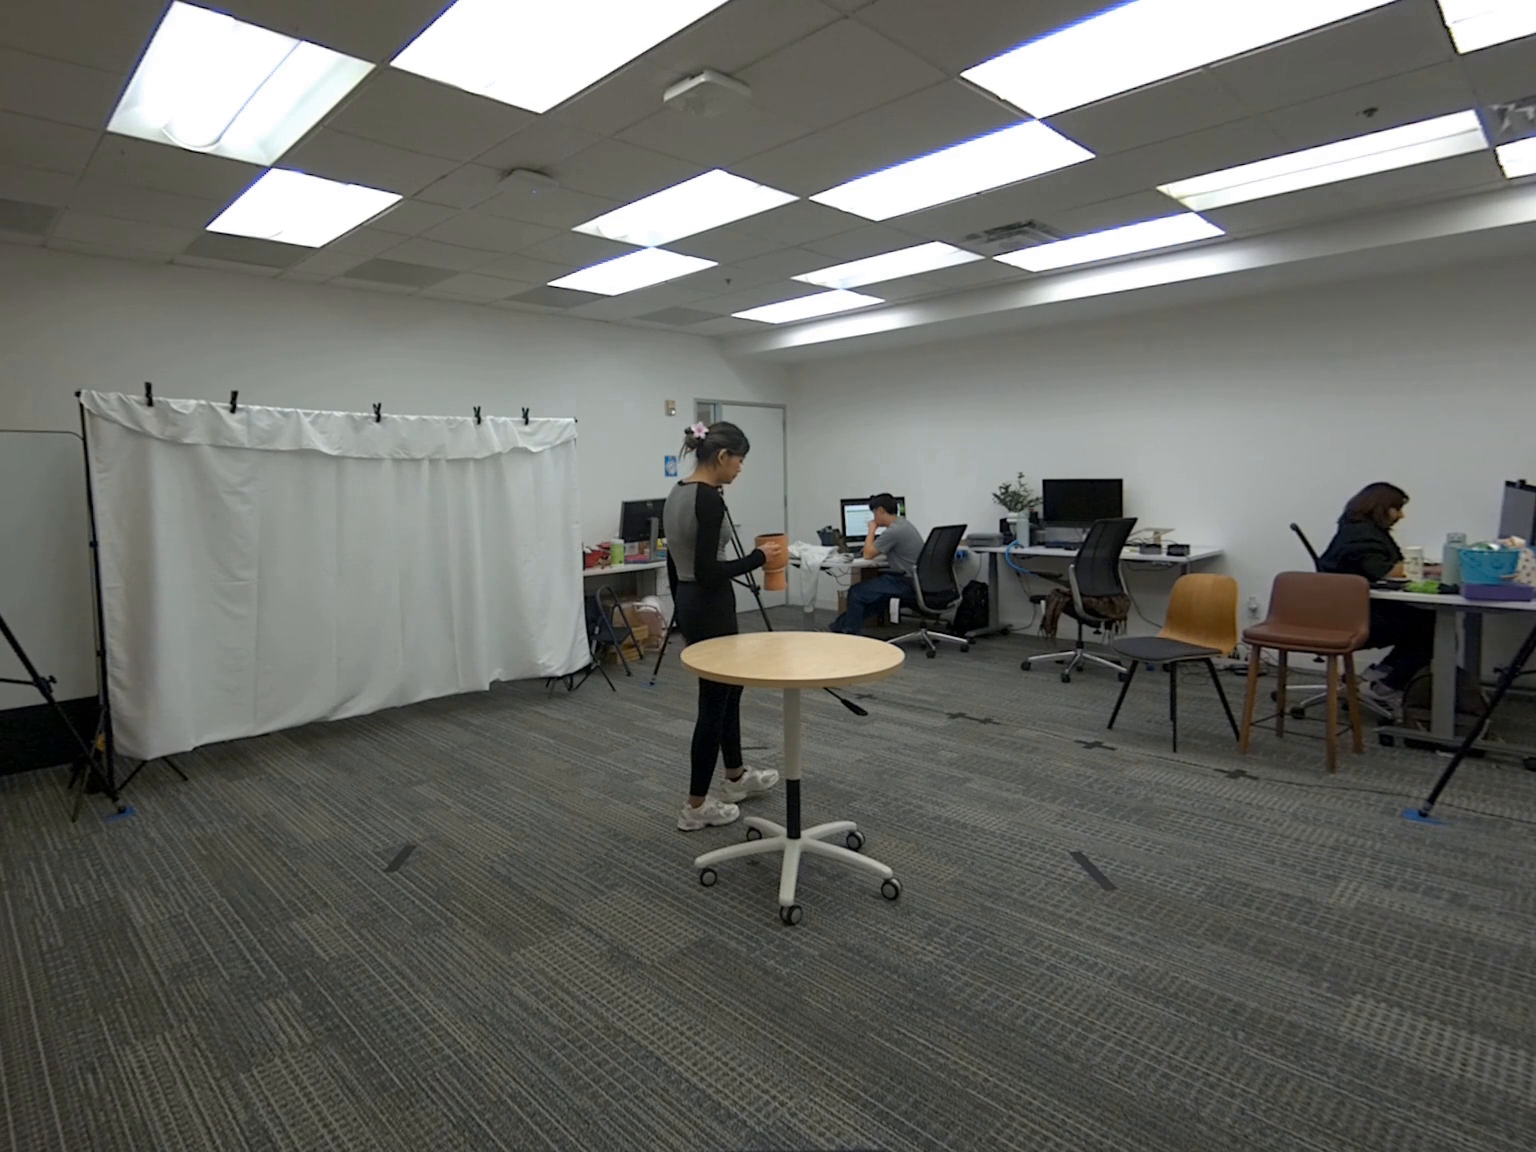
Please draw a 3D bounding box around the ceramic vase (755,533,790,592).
[{"bbox_3d":[0.013,-0.057,3.486,0.138,0.218,0.156,0,10,35],"label":"ceramic vase"}]
